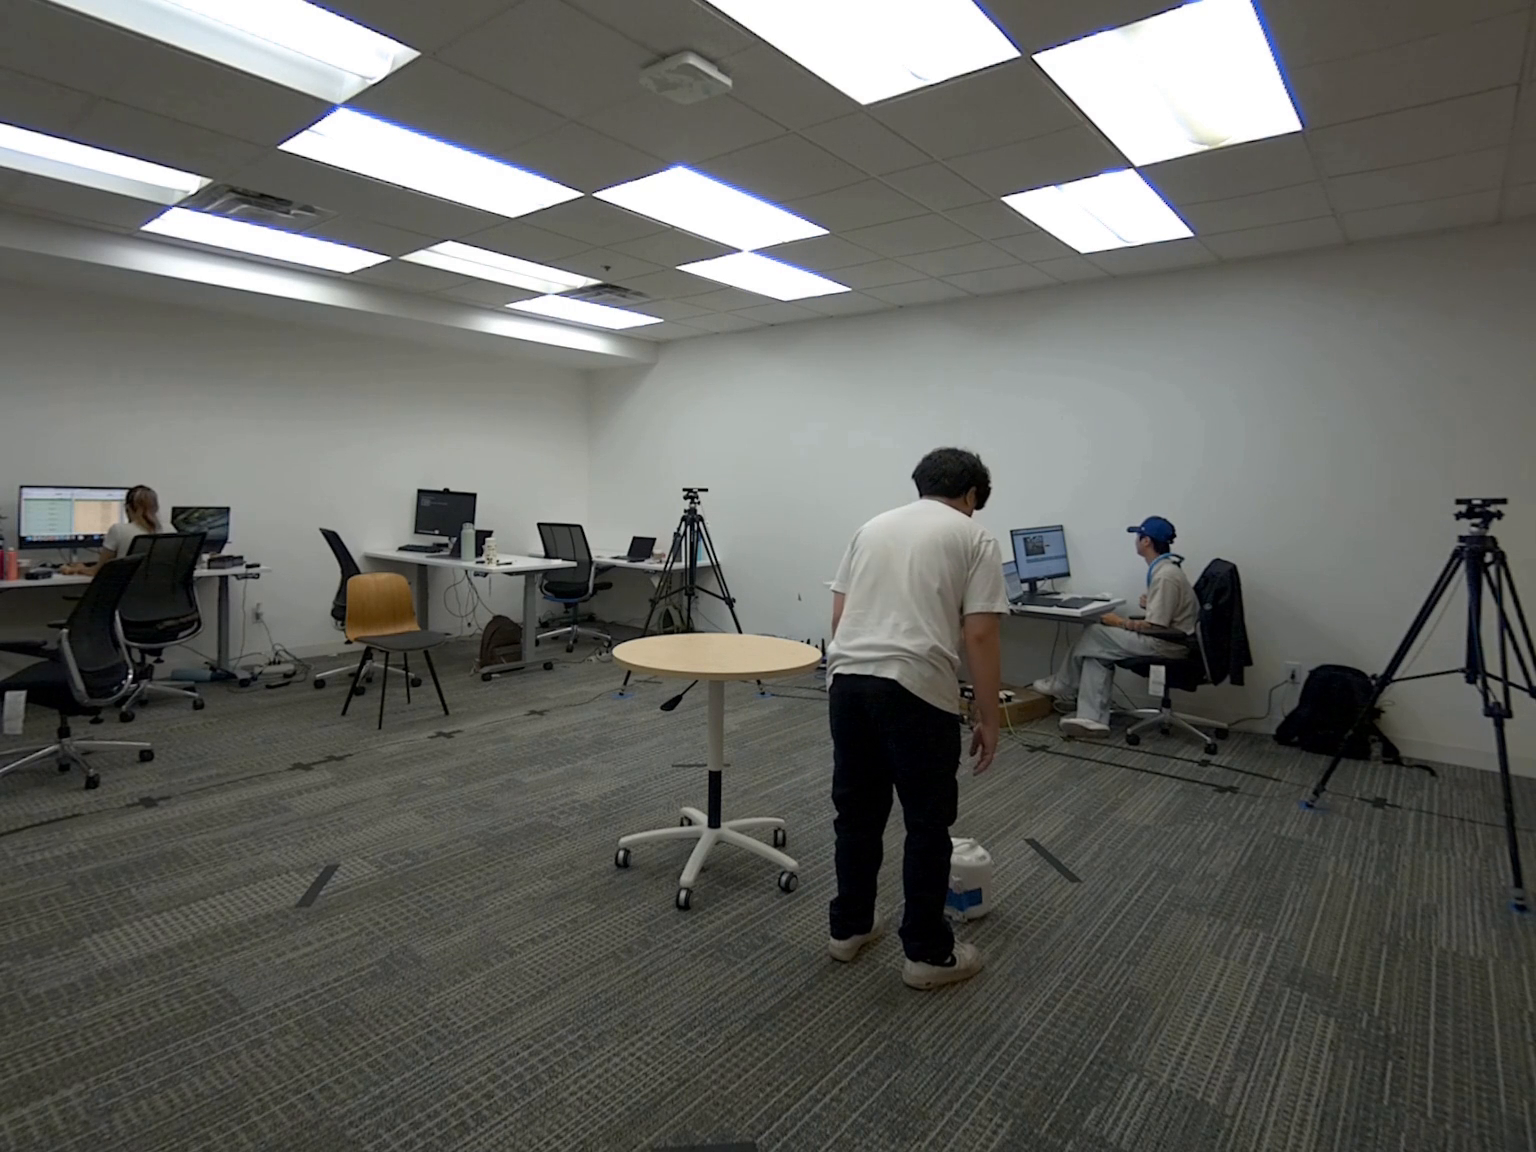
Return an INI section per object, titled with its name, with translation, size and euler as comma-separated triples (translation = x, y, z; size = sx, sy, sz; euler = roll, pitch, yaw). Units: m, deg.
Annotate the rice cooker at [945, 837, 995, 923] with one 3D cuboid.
[rice cooker]
translation = 0.639, 0.998, 2.866
size = 0.215, 0.232, 0.224
euler = -2, 6, -31
